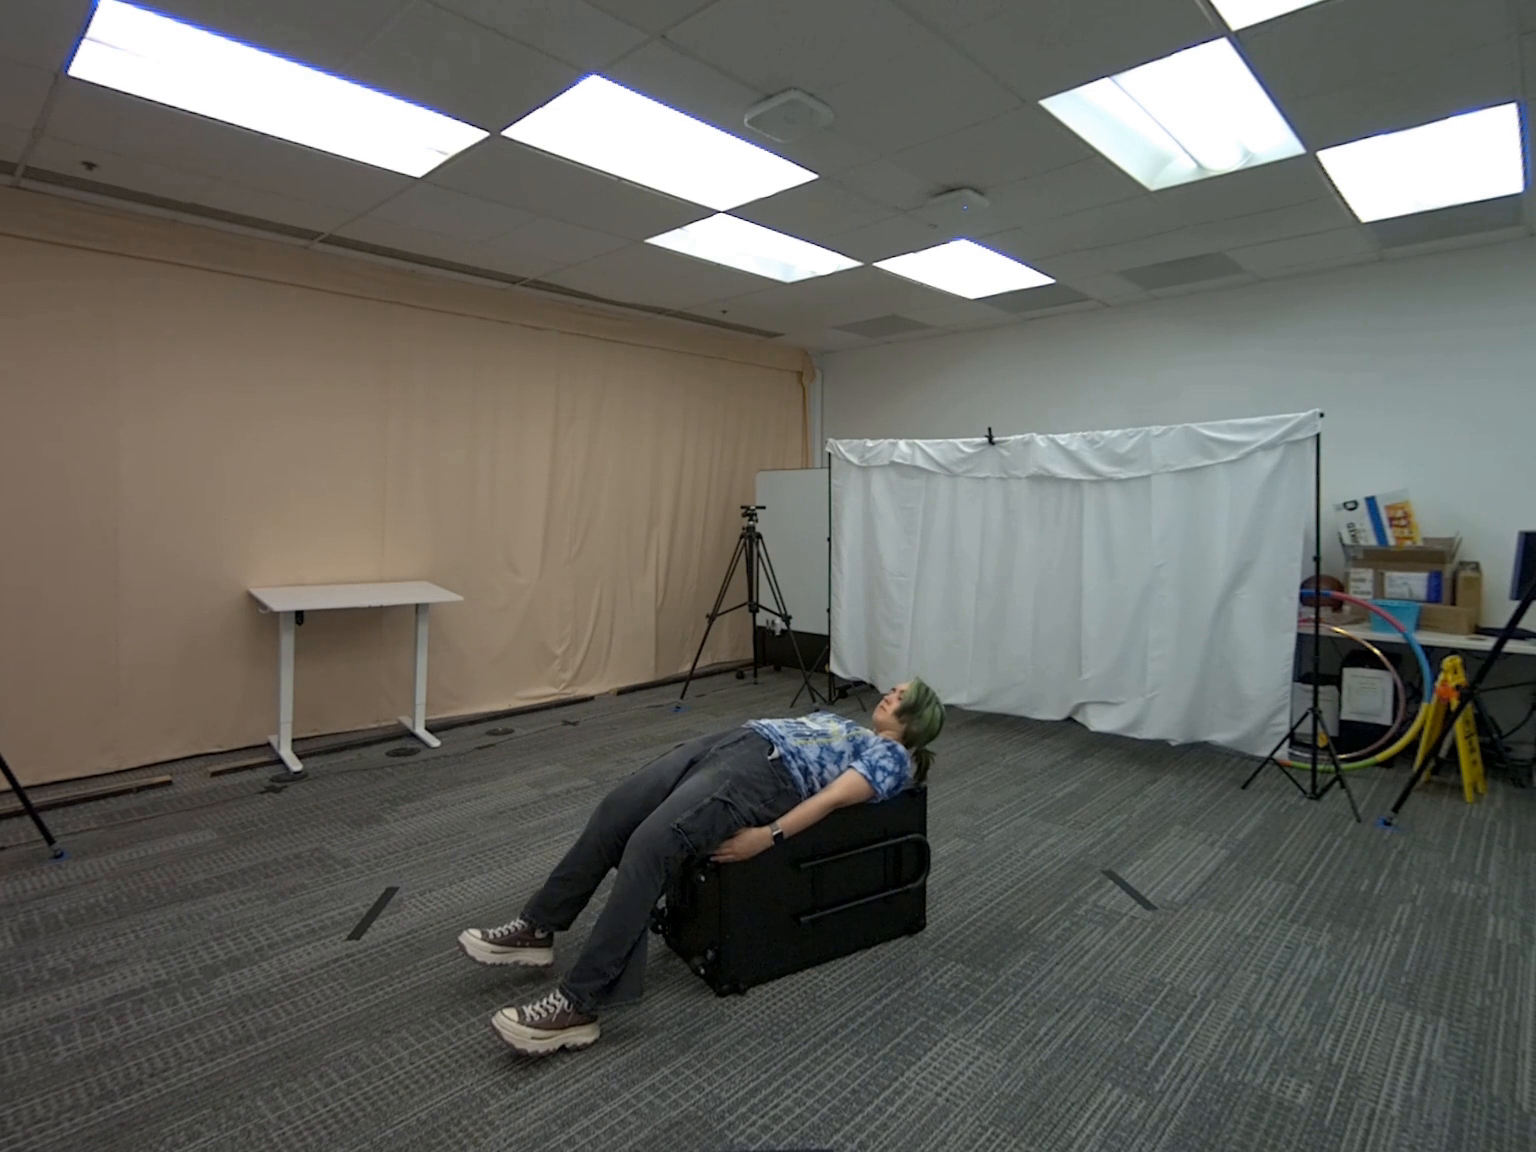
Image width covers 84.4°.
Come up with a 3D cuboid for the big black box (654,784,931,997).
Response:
[{"bbox_3d":[0.079,0.926,2.688,0.839,0.520,0.408,-4,4,-29],"label":"big black box"}]
